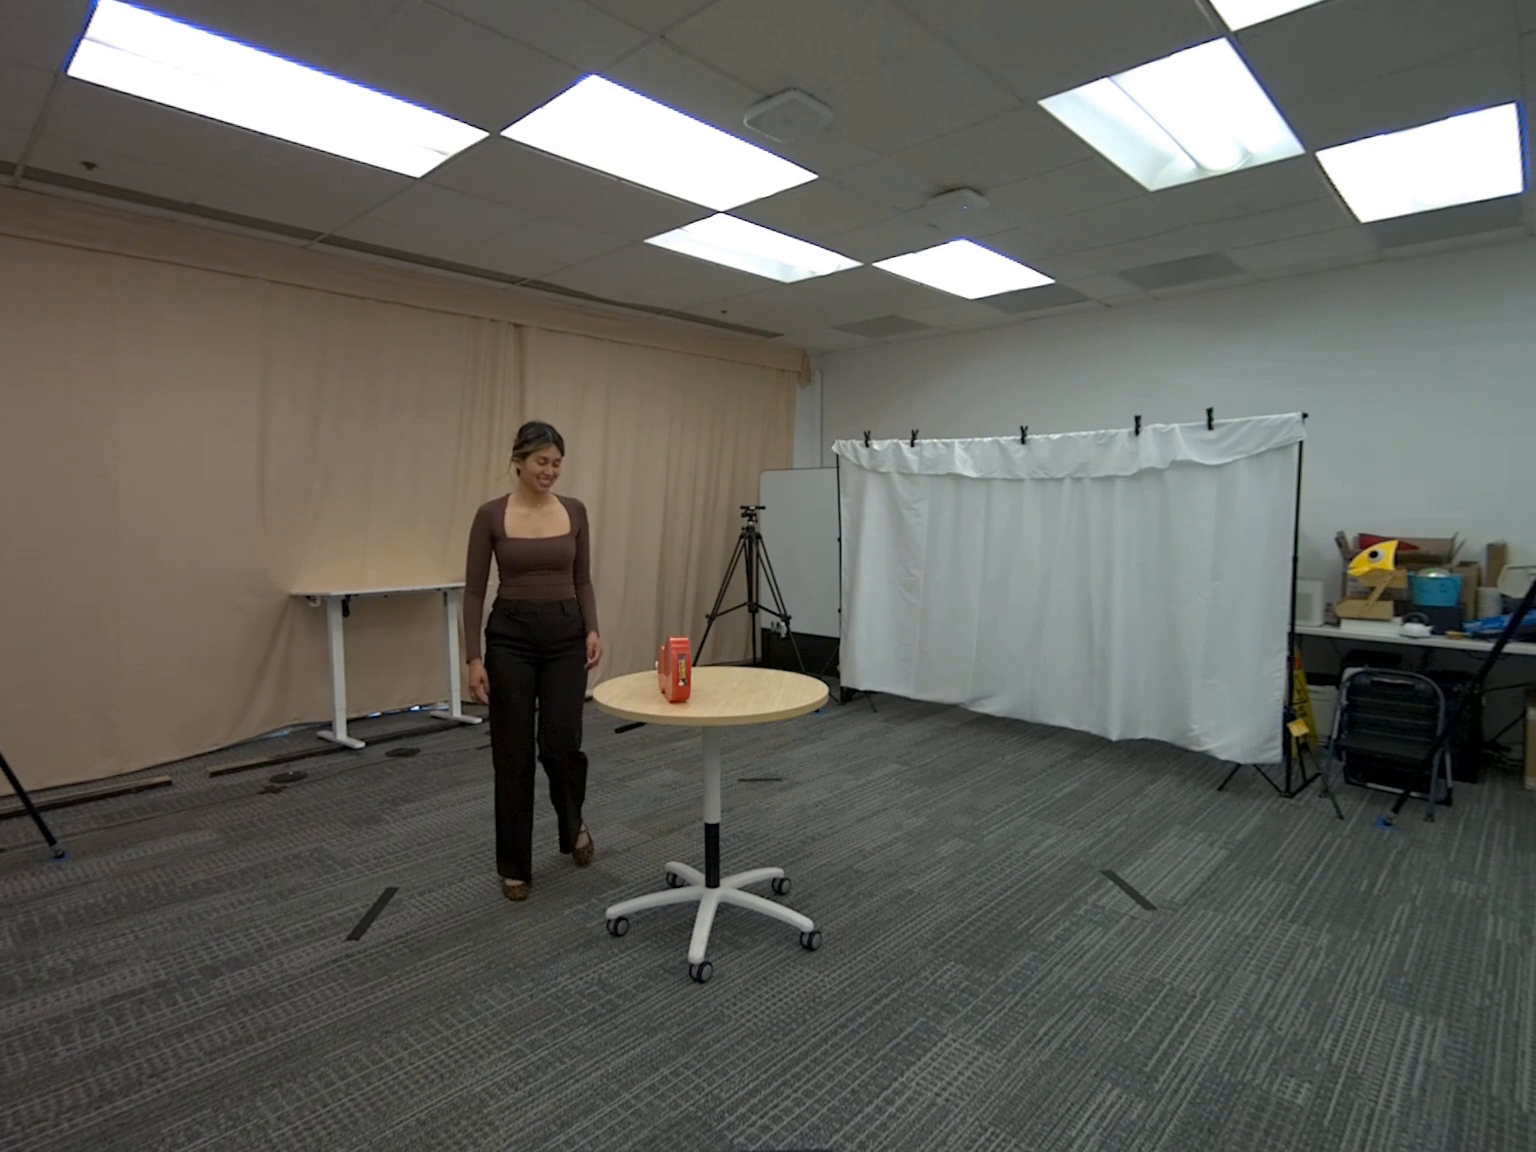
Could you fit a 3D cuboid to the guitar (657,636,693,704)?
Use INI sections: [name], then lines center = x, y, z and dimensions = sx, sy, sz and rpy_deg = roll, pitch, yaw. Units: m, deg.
[guitar]
center = -0.323, 0.328, 2.738
dimensions = 0.069, 0.195, 0.501
rpy_deg = 0, -15, -17
